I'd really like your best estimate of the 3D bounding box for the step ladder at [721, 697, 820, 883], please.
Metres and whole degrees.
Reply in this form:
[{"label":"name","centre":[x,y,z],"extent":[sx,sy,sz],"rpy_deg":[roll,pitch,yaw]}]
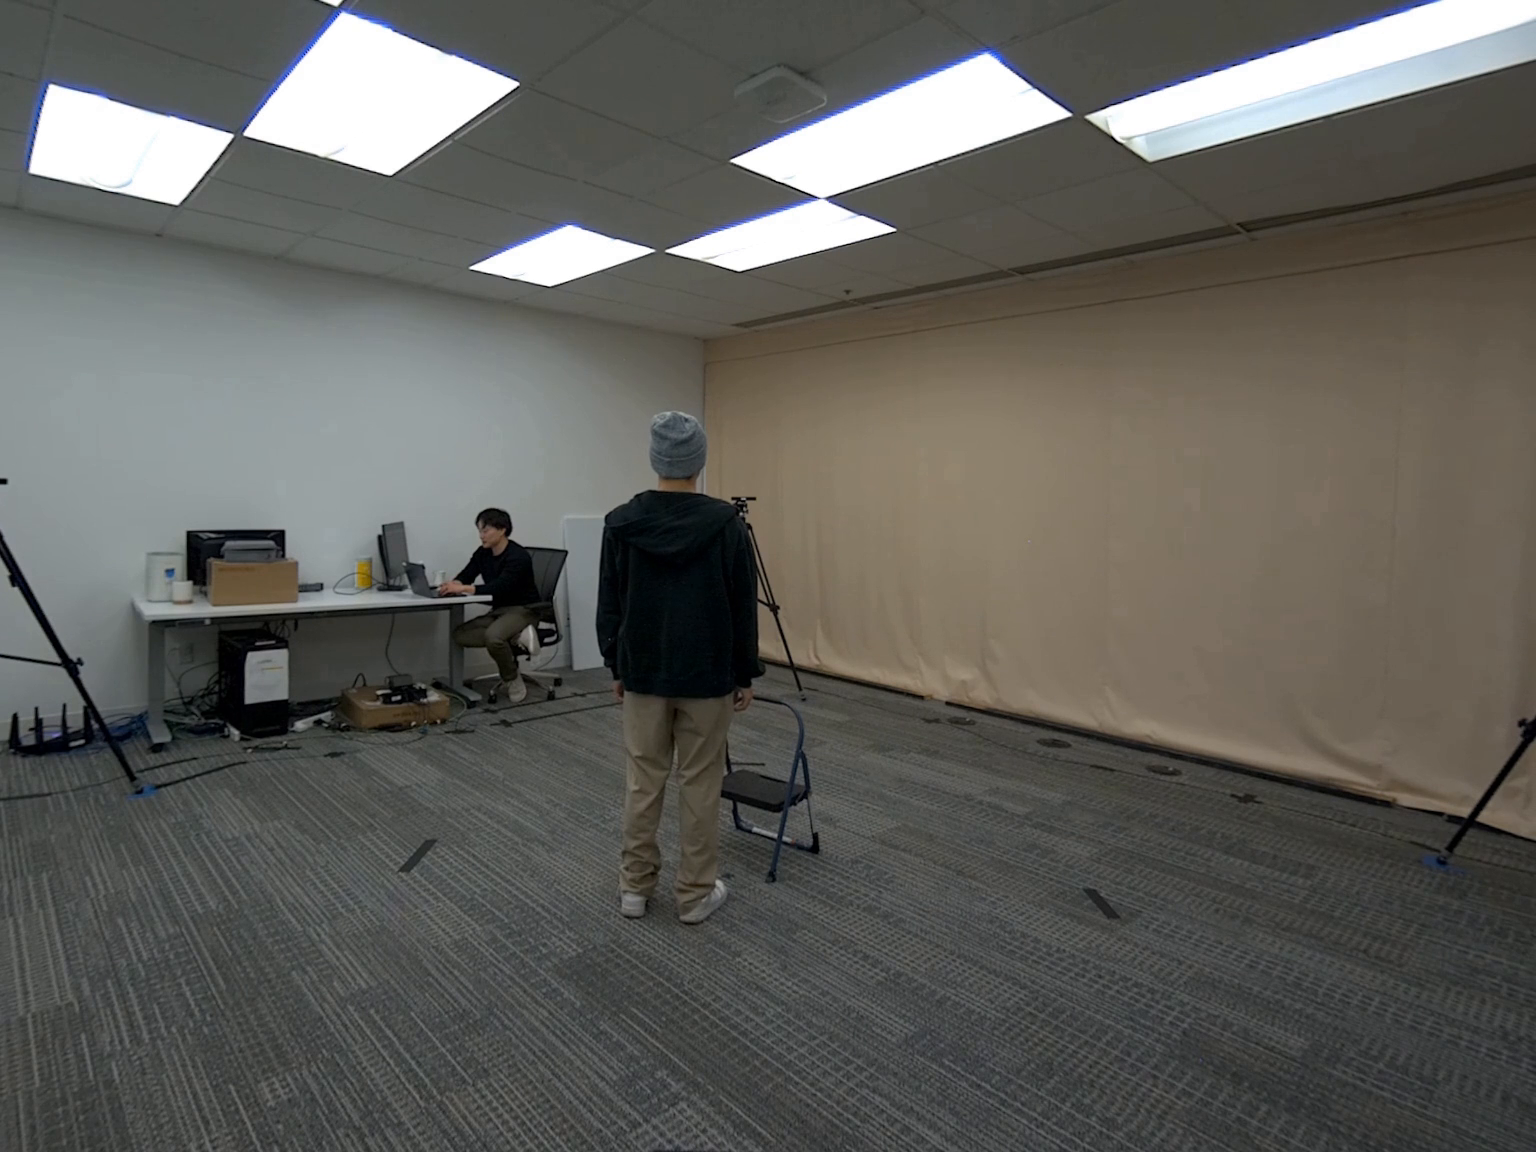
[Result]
[{"label":"step ladder","centre":[-0.055,0.789,3.306],"extent":[0.441,0.604,0.341],"rpy_deg":[4,4,37]}]
